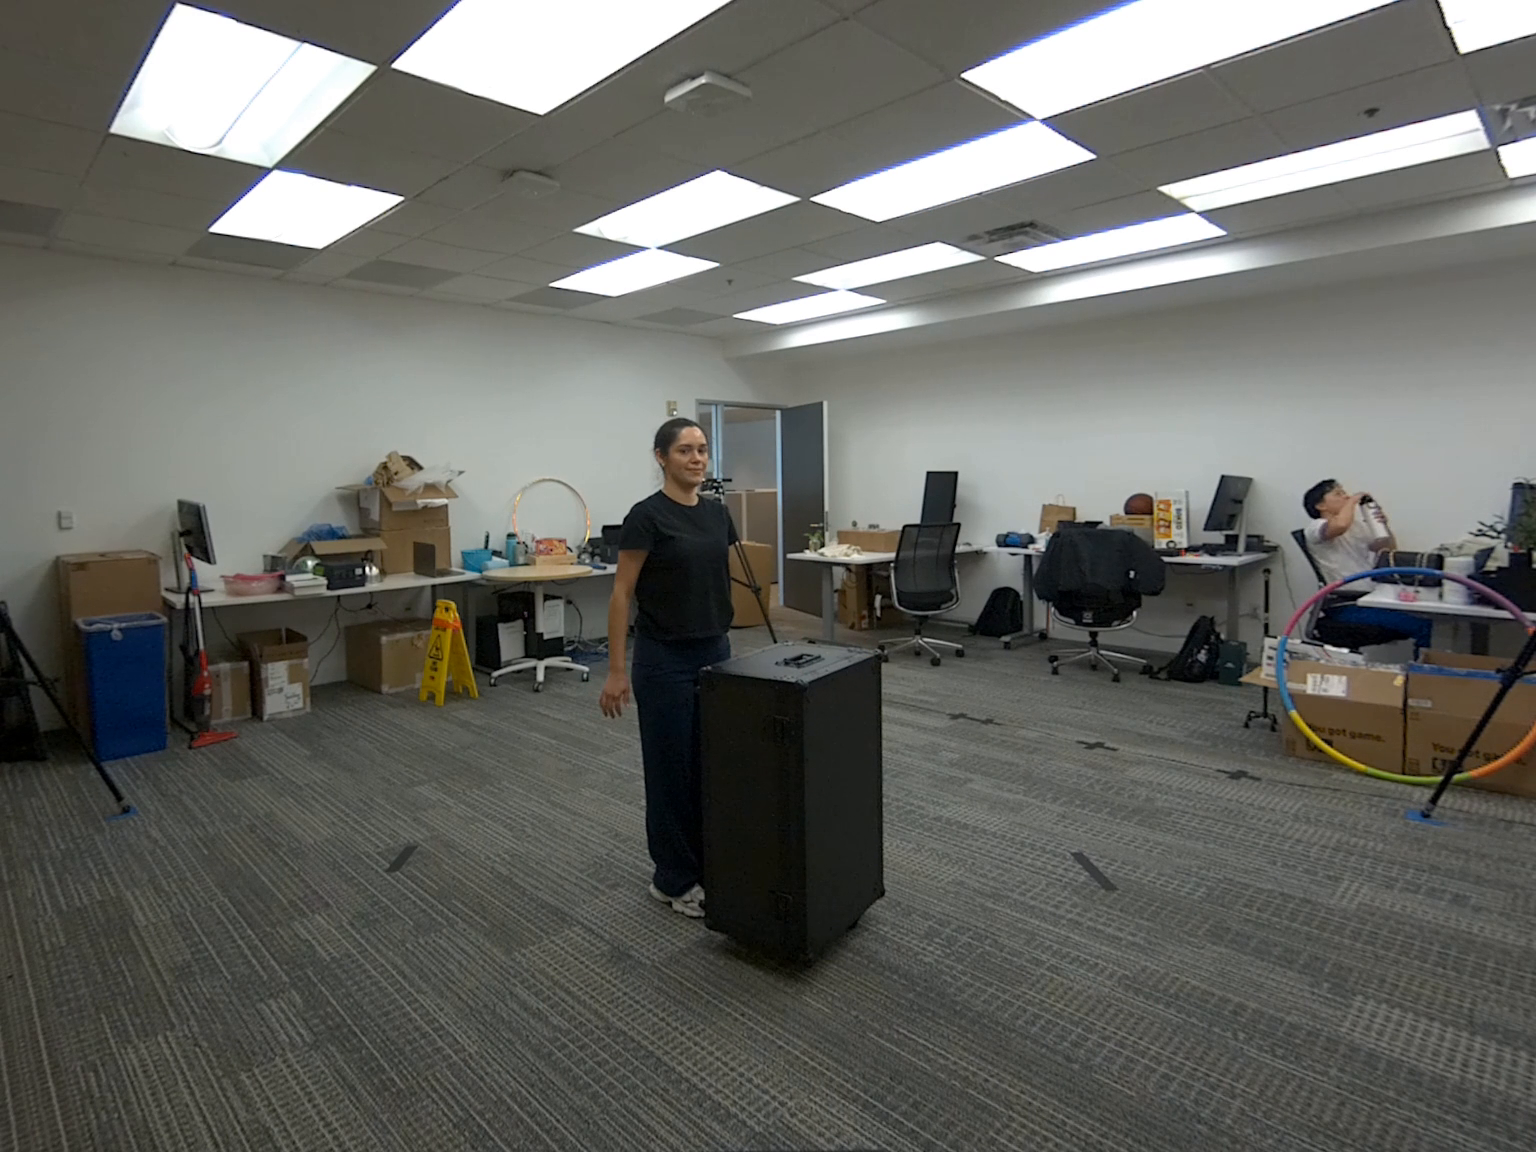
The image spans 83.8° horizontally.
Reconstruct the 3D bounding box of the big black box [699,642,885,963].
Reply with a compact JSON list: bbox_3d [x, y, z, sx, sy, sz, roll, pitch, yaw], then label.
[{"bbox_3d":[0.079,0.621,2.611,0.407,0.858,0.509,2,6,34],"label":"big black box"}]
